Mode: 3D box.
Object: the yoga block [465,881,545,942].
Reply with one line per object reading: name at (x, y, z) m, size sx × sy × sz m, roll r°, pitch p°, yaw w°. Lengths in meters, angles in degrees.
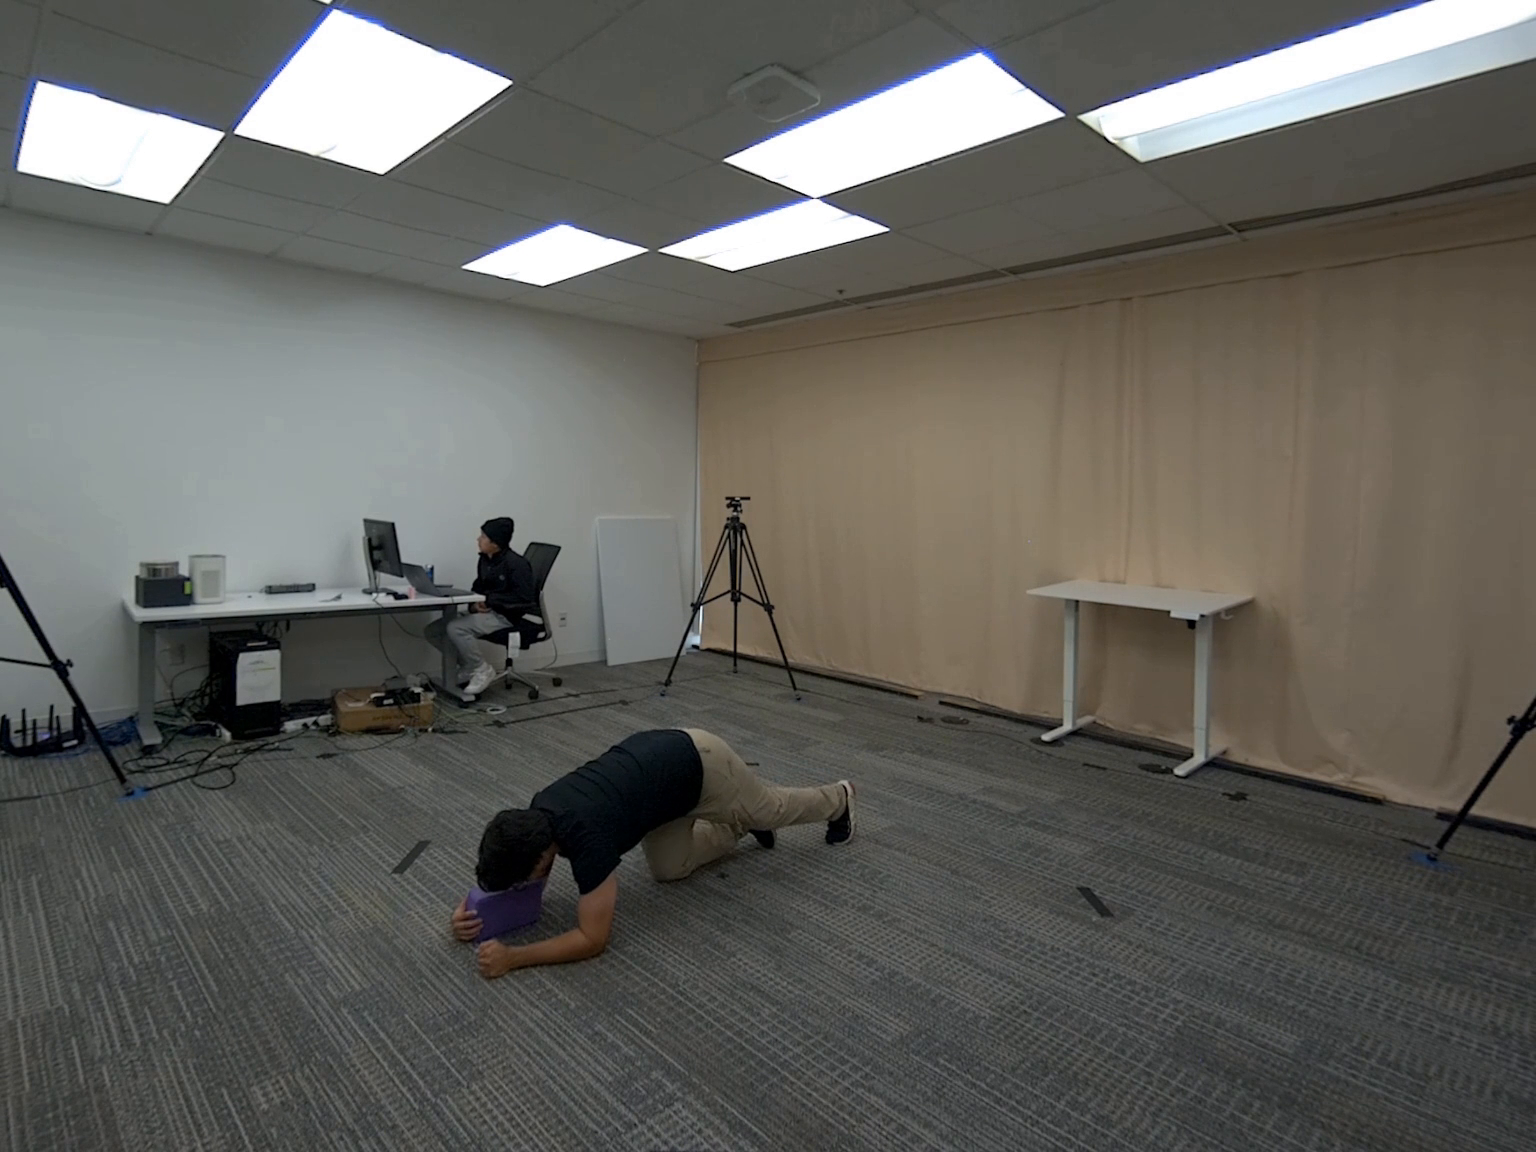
yoga block at (-0.843, 1.052, 2.685) m, size 0.224 × 0.148 × 0.079 m, roll -2°, pitch 14°, yaw -40°
